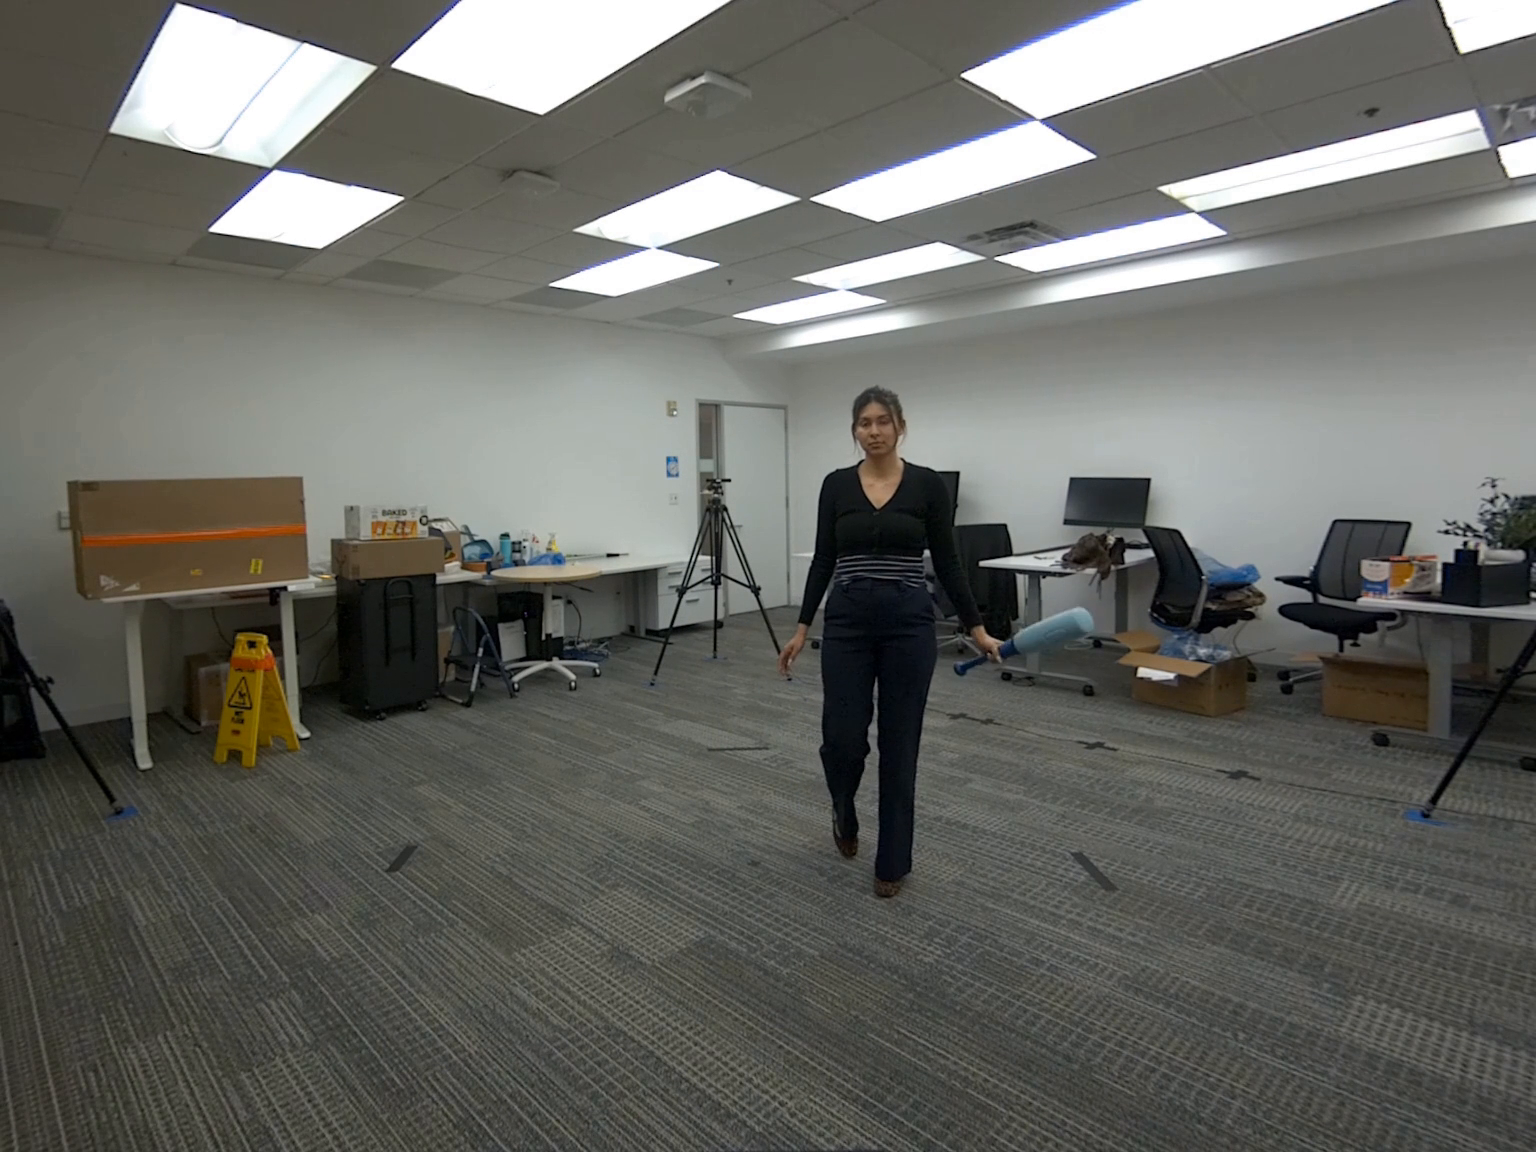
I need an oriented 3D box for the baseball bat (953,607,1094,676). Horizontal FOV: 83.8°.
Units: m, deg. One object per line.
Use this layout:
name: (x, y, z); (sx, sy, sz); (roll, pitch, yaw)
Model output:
baseball bat: (0.793, 0.216, 2.695); (0.087, 0.091, 0.546); (-4, -20, -35)
